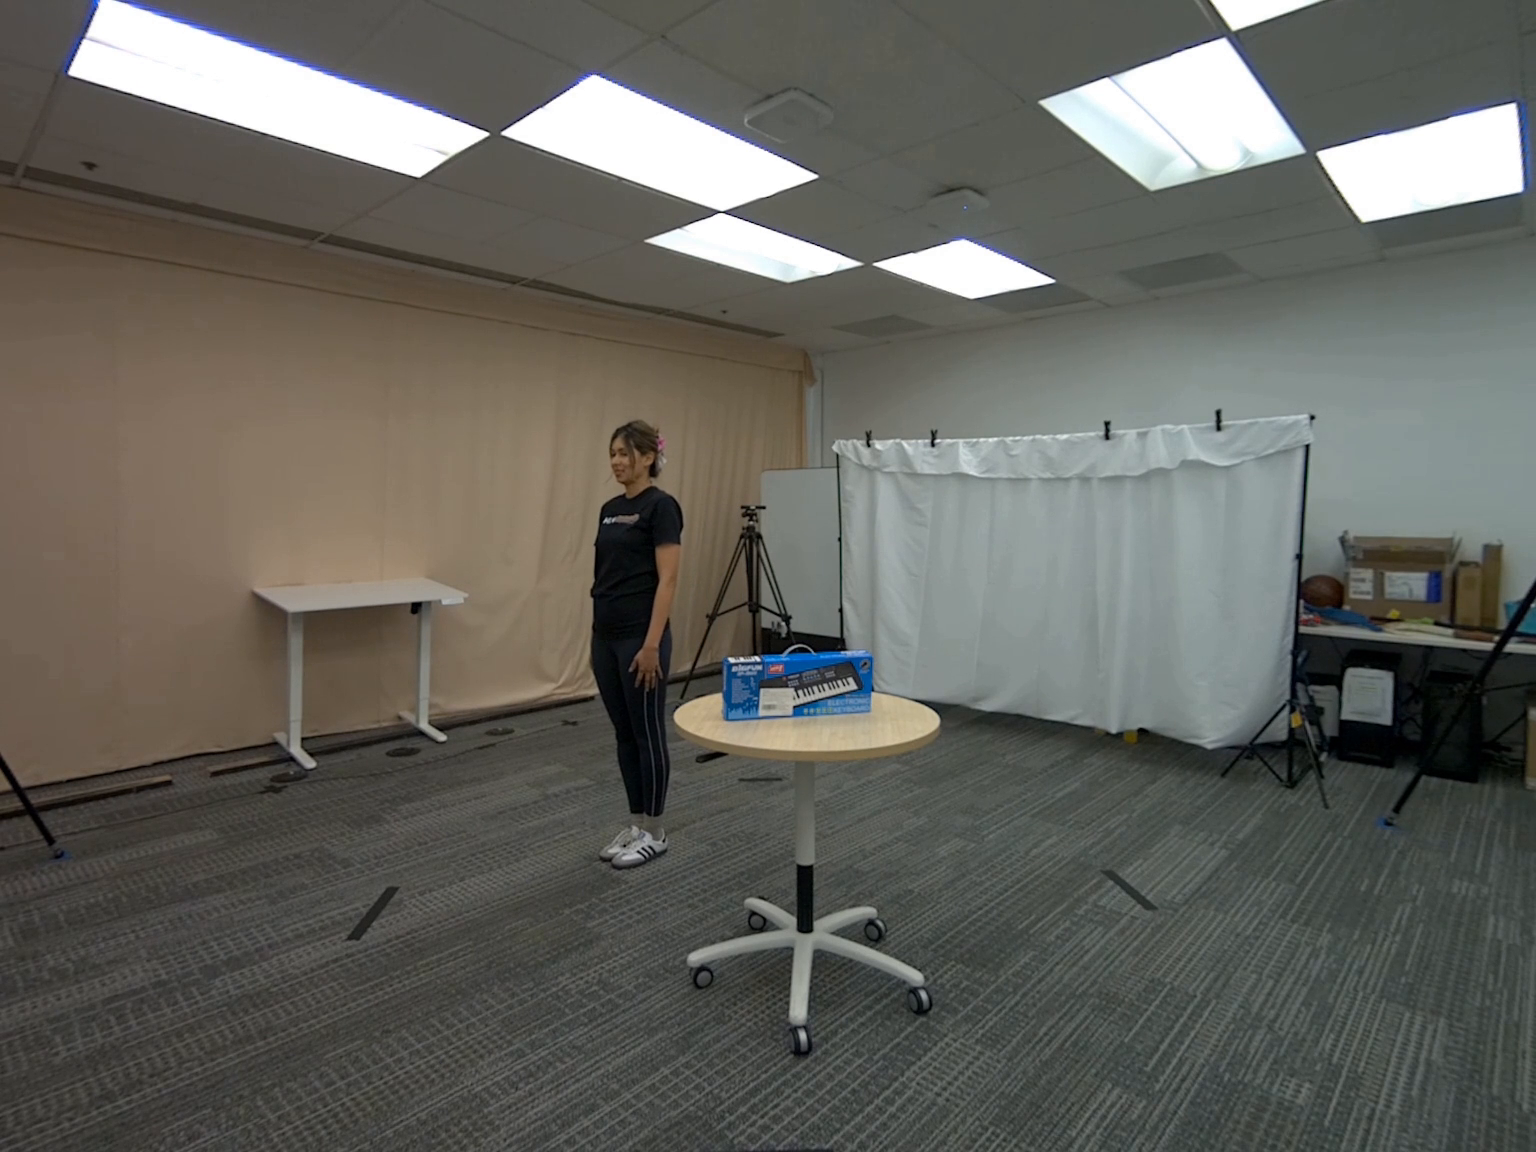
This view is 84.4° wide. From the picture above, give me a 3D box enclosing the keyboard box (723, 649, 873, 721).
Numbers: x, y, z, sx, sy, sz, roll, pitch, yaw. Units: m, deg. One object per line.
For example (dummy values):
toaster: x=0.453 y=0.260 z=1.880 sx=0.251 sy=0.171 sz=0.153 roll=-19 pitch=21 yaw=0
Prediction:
keyboard box: x=0.093 y=0.316 z=2.433 sx=0.431 sy=0.175 sz=0.060 roll=-1 pitch=8 yaw=-13
